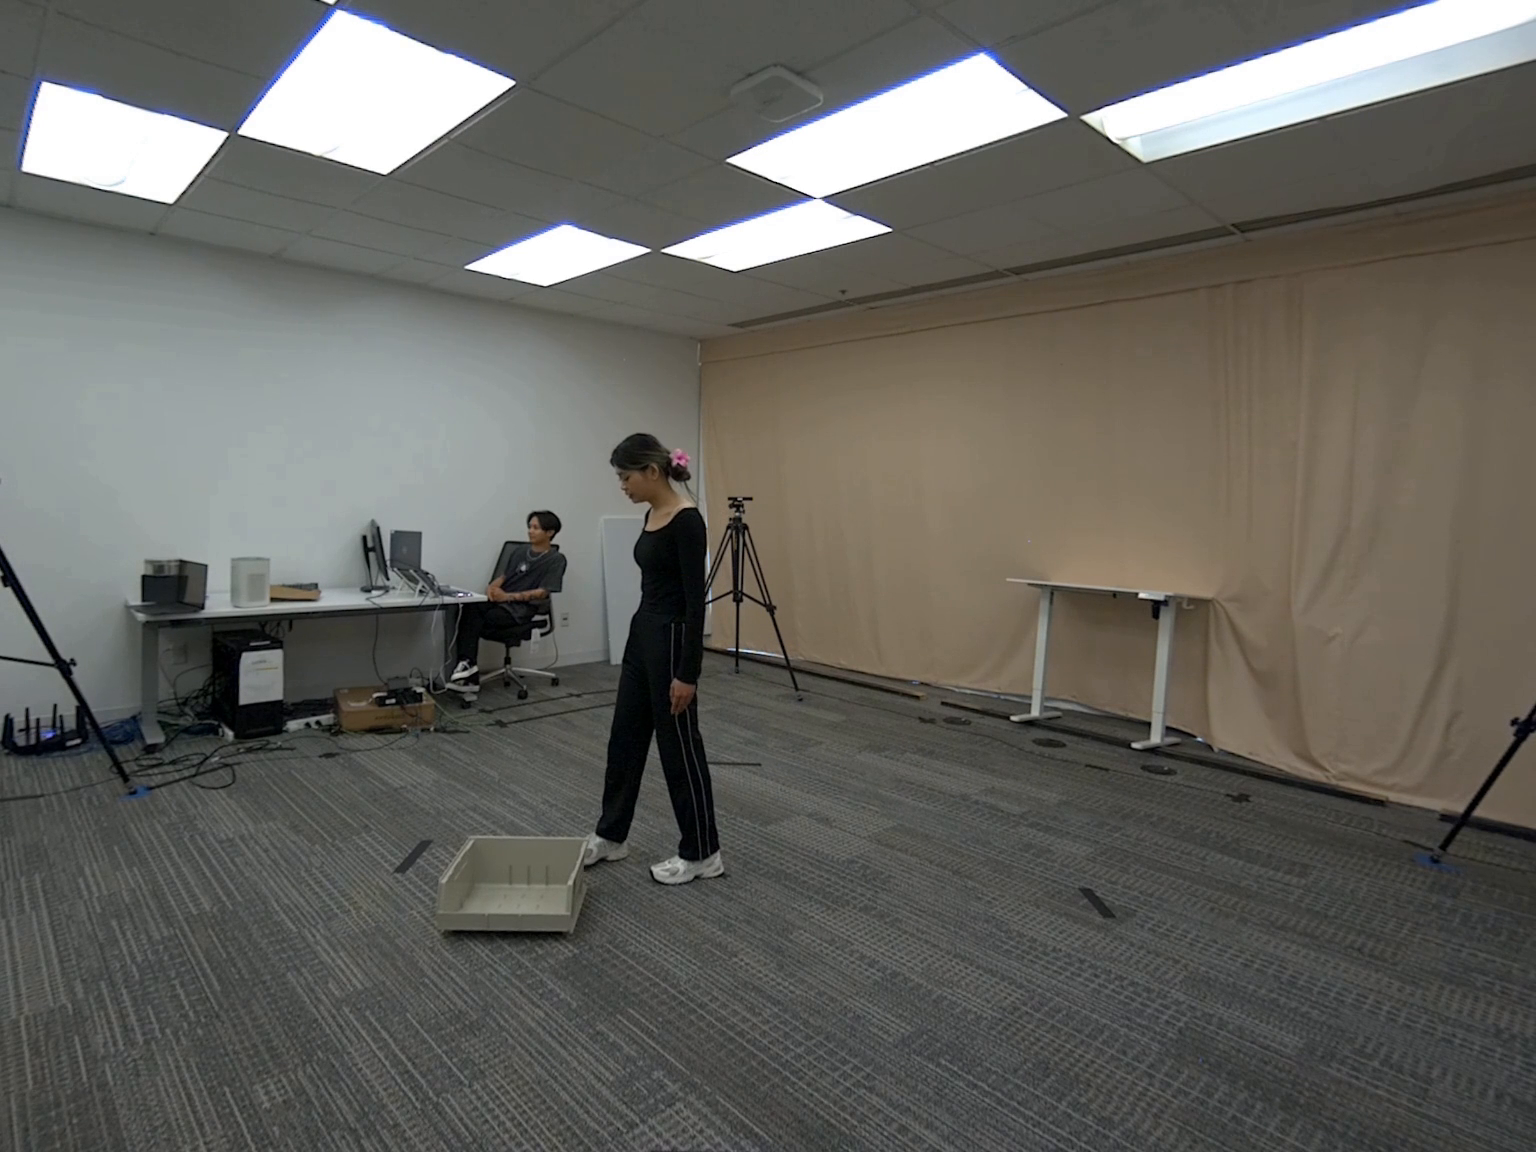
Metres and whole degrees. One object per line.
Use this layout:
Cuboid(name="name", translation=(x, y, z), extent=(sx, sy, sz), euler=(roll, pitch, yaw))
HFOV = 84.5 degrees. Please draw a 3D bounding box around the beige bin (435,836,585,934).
Cuboid(name="beige bin", translation=(-0.841, 1.035, 2.790), extent=(0.421, 0.188, 0.379), euler=(0, 5, -3))
